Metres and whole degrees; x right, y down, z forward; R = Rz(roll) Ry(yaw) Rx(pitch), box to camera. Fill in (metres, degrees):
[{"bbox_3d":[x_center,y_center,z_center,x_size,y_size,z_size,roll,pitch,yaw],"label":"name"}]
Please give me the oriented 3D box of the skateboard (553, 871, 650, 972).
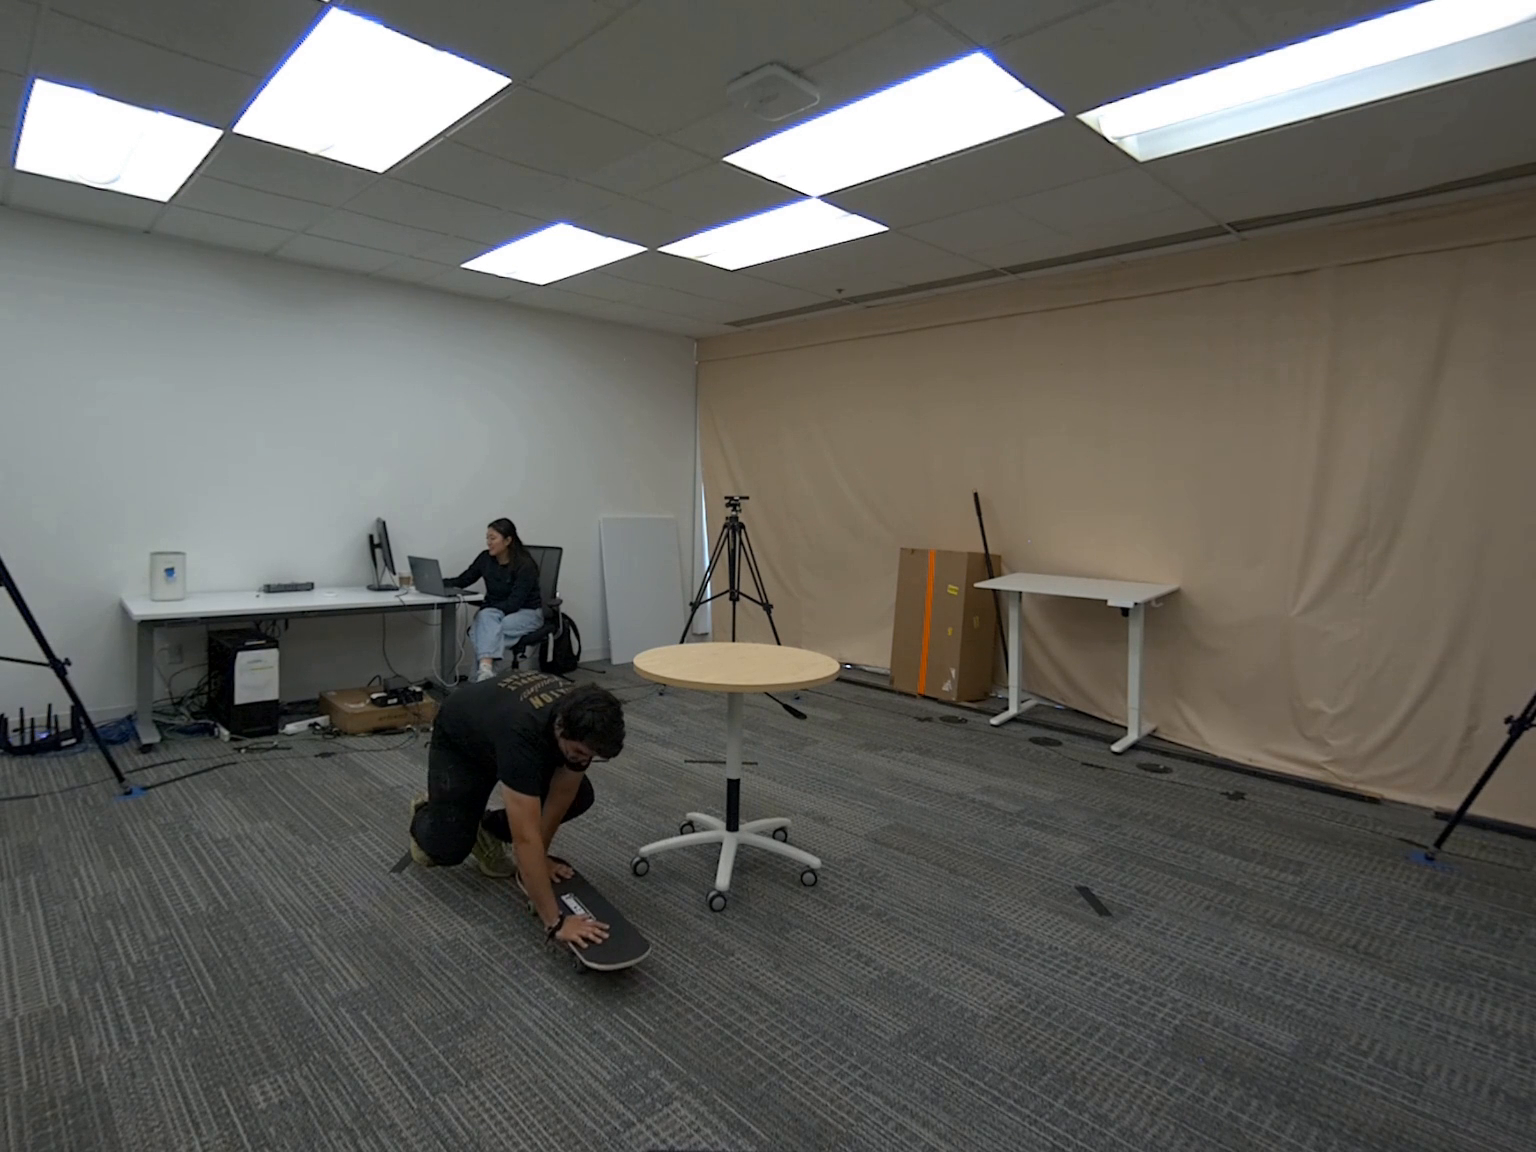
[{"bbox_3d":[-0.609,1.082,2.656,0.190,0.110,0.804,-6,9,-32],"label":"skateboard"}]
